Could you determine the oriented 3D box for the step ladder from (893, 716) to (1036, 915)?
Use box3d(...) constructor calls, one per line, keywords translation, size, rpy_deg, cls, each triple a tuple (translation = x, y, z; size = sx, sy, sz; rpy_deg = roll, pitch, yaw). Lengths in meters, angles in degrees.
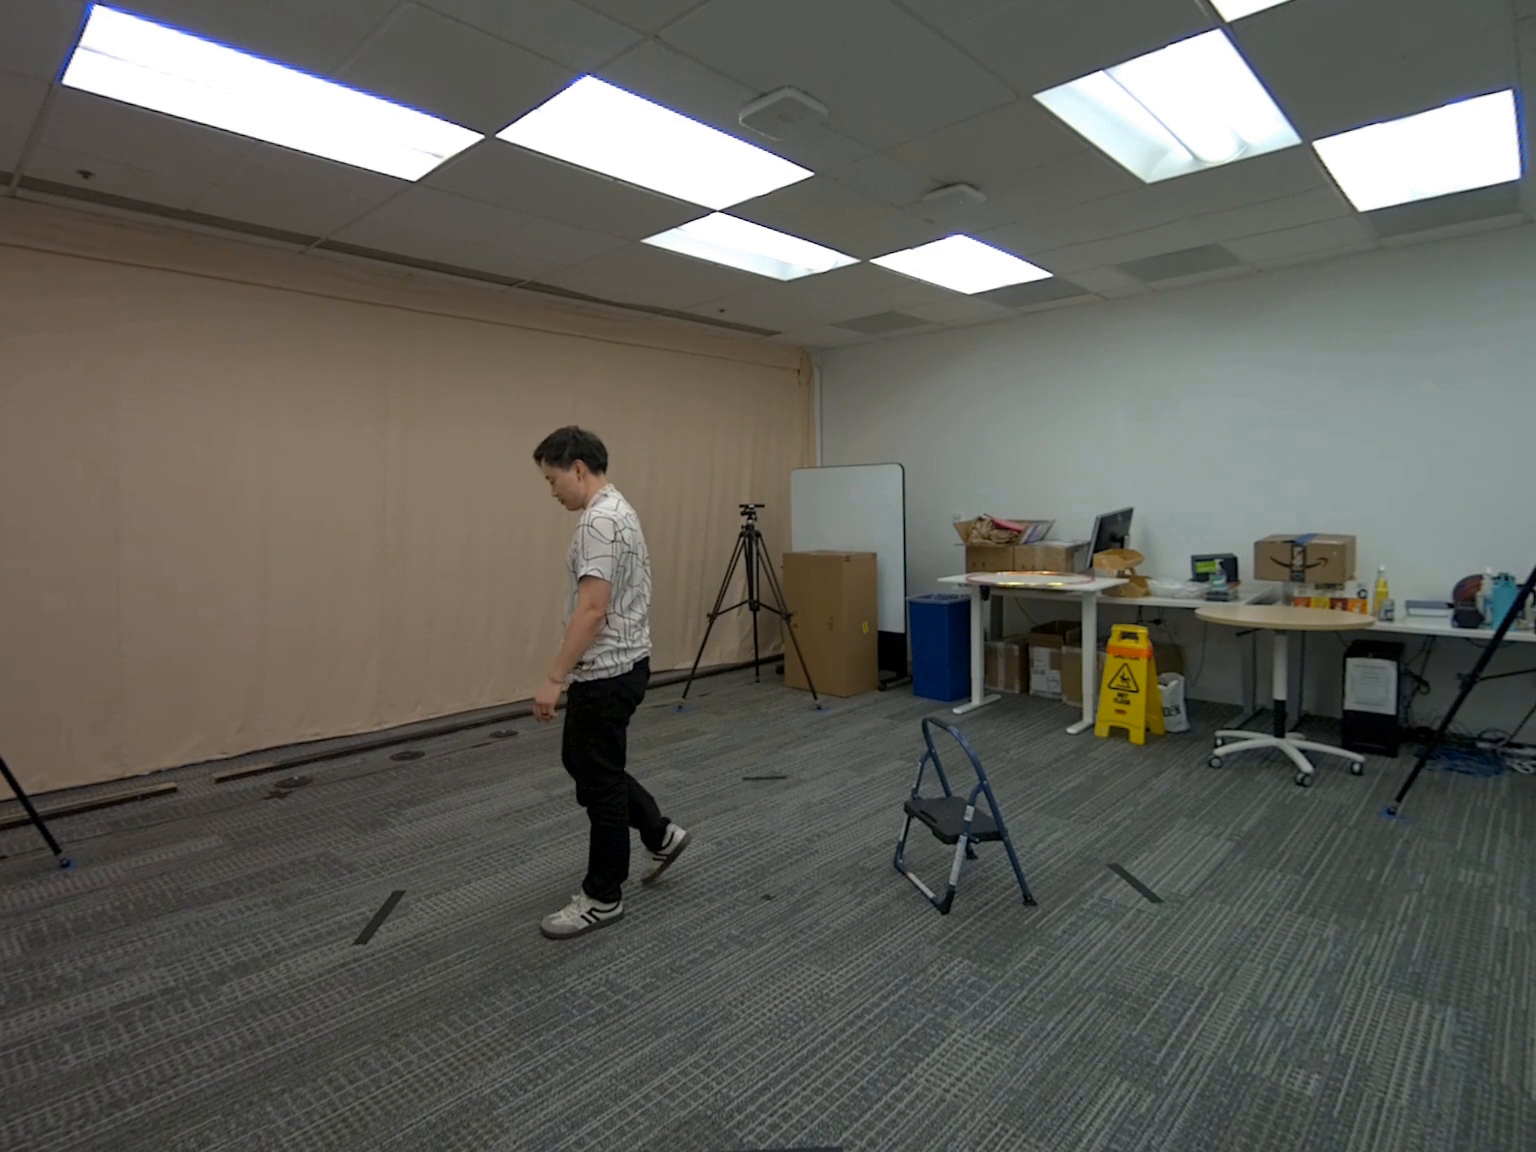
box3d(translation=(0.702, 0.822, 3.049), size=(0.344, 0.605, 0.438), rpy_deg=(-2, 3, -15), cls="step ladder")
